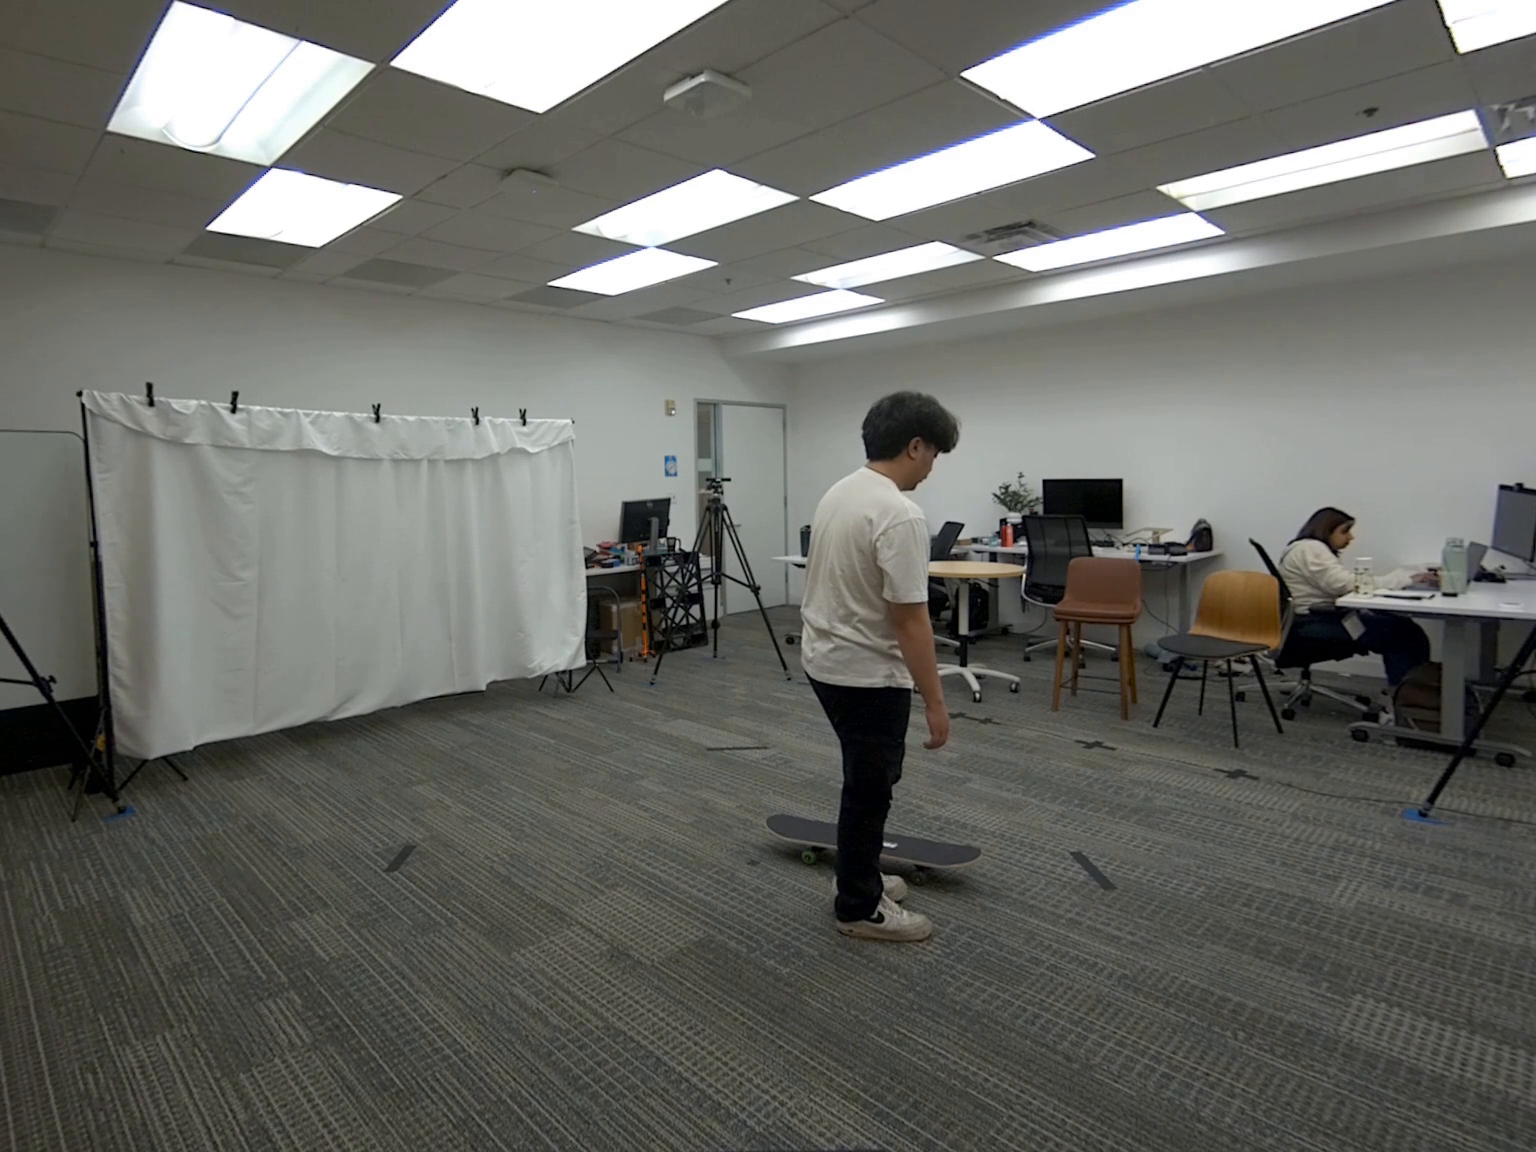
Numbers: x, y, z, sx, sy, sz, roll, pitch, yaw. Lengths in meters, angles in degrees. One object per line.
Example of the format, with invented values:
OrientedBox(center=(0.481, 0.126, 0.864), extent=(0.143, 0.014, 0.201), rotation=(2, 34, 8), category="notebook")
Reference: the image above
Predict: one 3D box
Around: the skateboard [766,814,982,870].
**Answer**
OrientedBox(center=(0.360, 0.981, 3.068), extent=(0.804, 0.110, 0.190), rotation=(2, 6, 26), category="skateboard")
